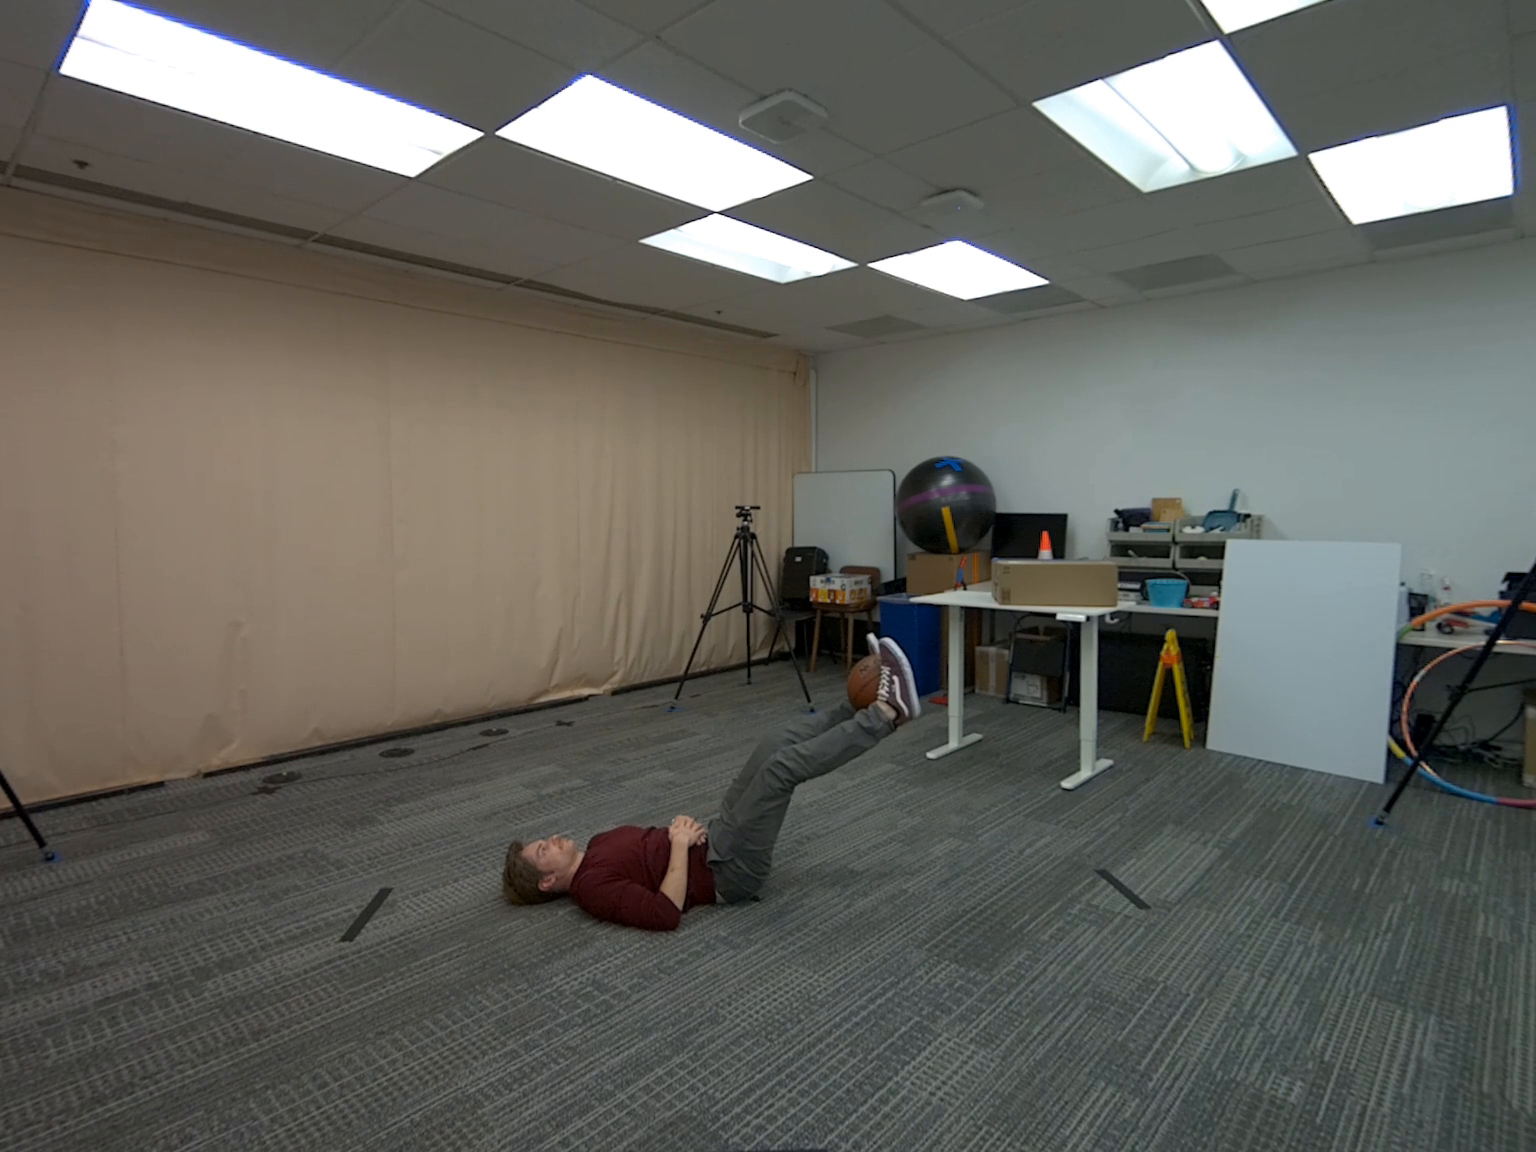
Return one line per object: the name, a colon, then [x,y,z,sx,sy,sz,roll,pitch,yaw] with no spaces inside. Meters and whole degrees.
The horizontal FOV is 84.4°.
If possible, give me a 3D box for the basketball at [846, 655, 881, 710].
basketball: [0.402,0.398,3.015,0.235,0.235,0.237,3,5,-2]
